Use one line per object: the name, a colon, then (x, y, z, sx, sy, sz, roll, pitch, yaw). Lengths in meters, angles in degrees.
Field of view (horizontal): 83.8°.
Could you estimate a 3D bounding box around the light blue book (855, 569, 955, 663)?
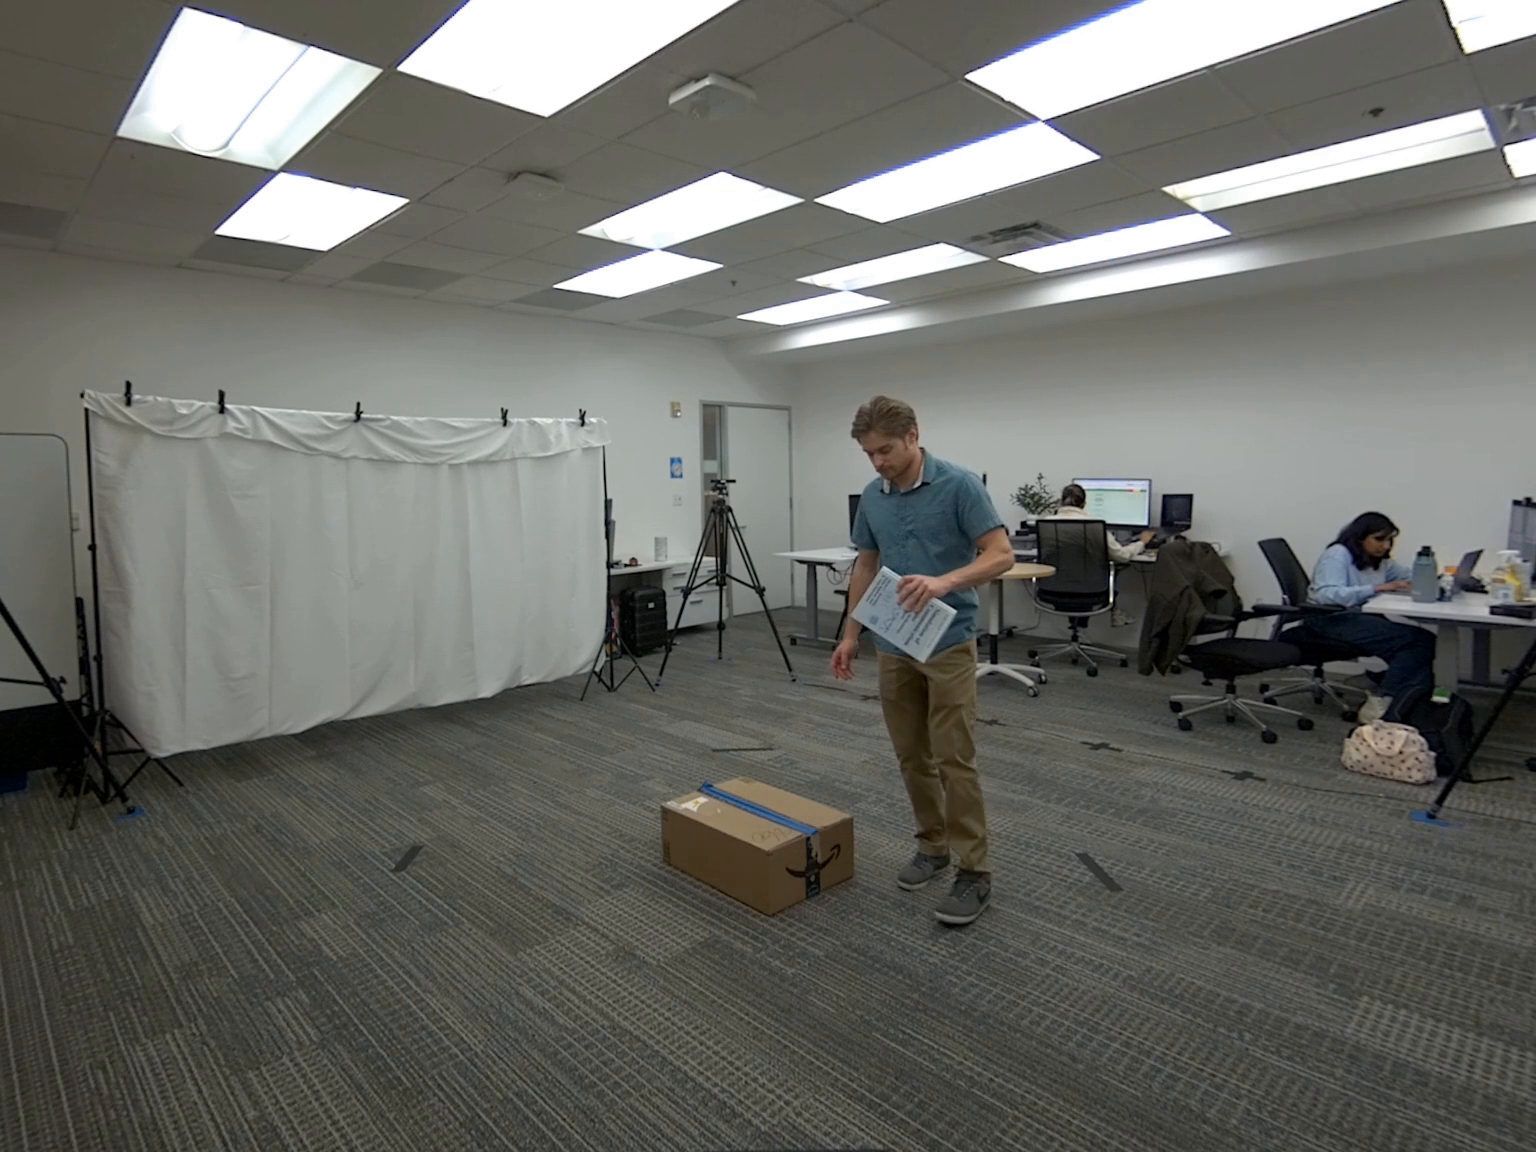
light blue book: (0.432, 0.126, 2.633, 0.267, 0.191, 0.058, 34, 0, 17)
